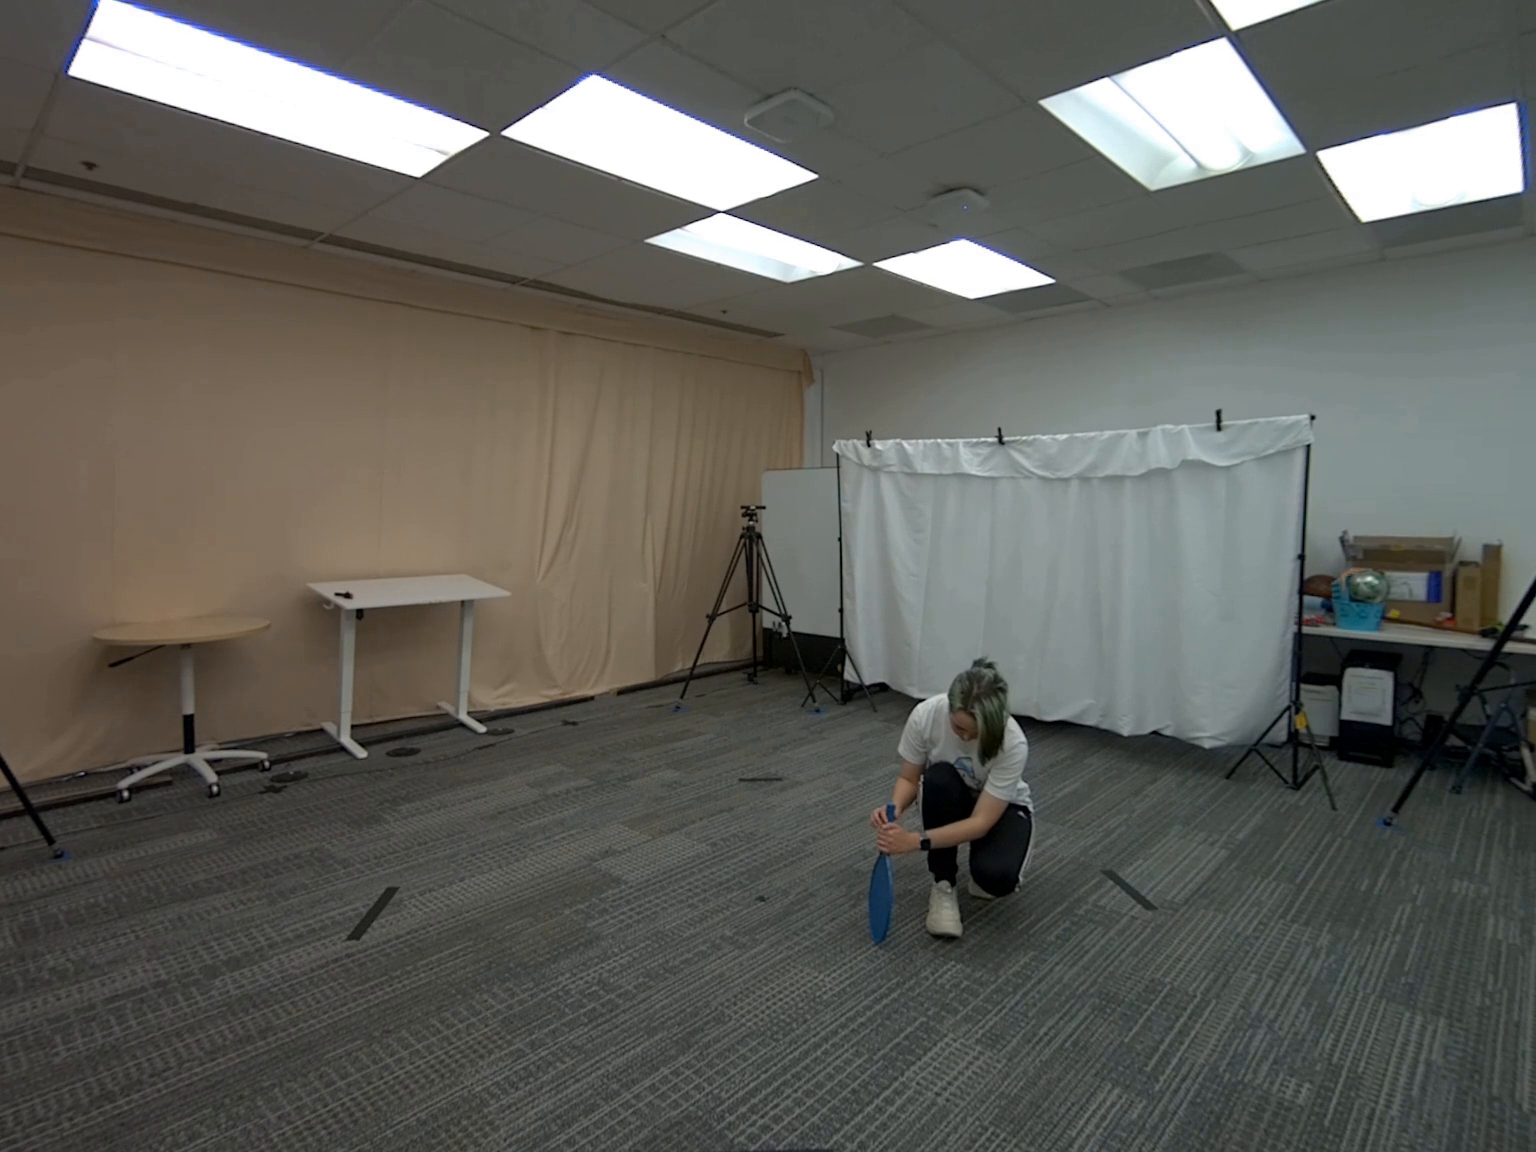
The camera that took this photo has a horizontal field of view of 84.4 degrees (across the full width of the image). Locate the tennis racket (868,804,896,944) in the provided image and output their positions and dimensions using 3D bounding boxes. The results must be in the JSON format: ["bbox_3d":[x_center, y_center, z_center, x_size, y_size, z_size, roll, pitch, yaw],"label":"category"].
[{"bbox_3d":[0.382,0.965,2.705,0.031,0.434,0.214,8,-8,-5],"label":"tennis racket"}]
